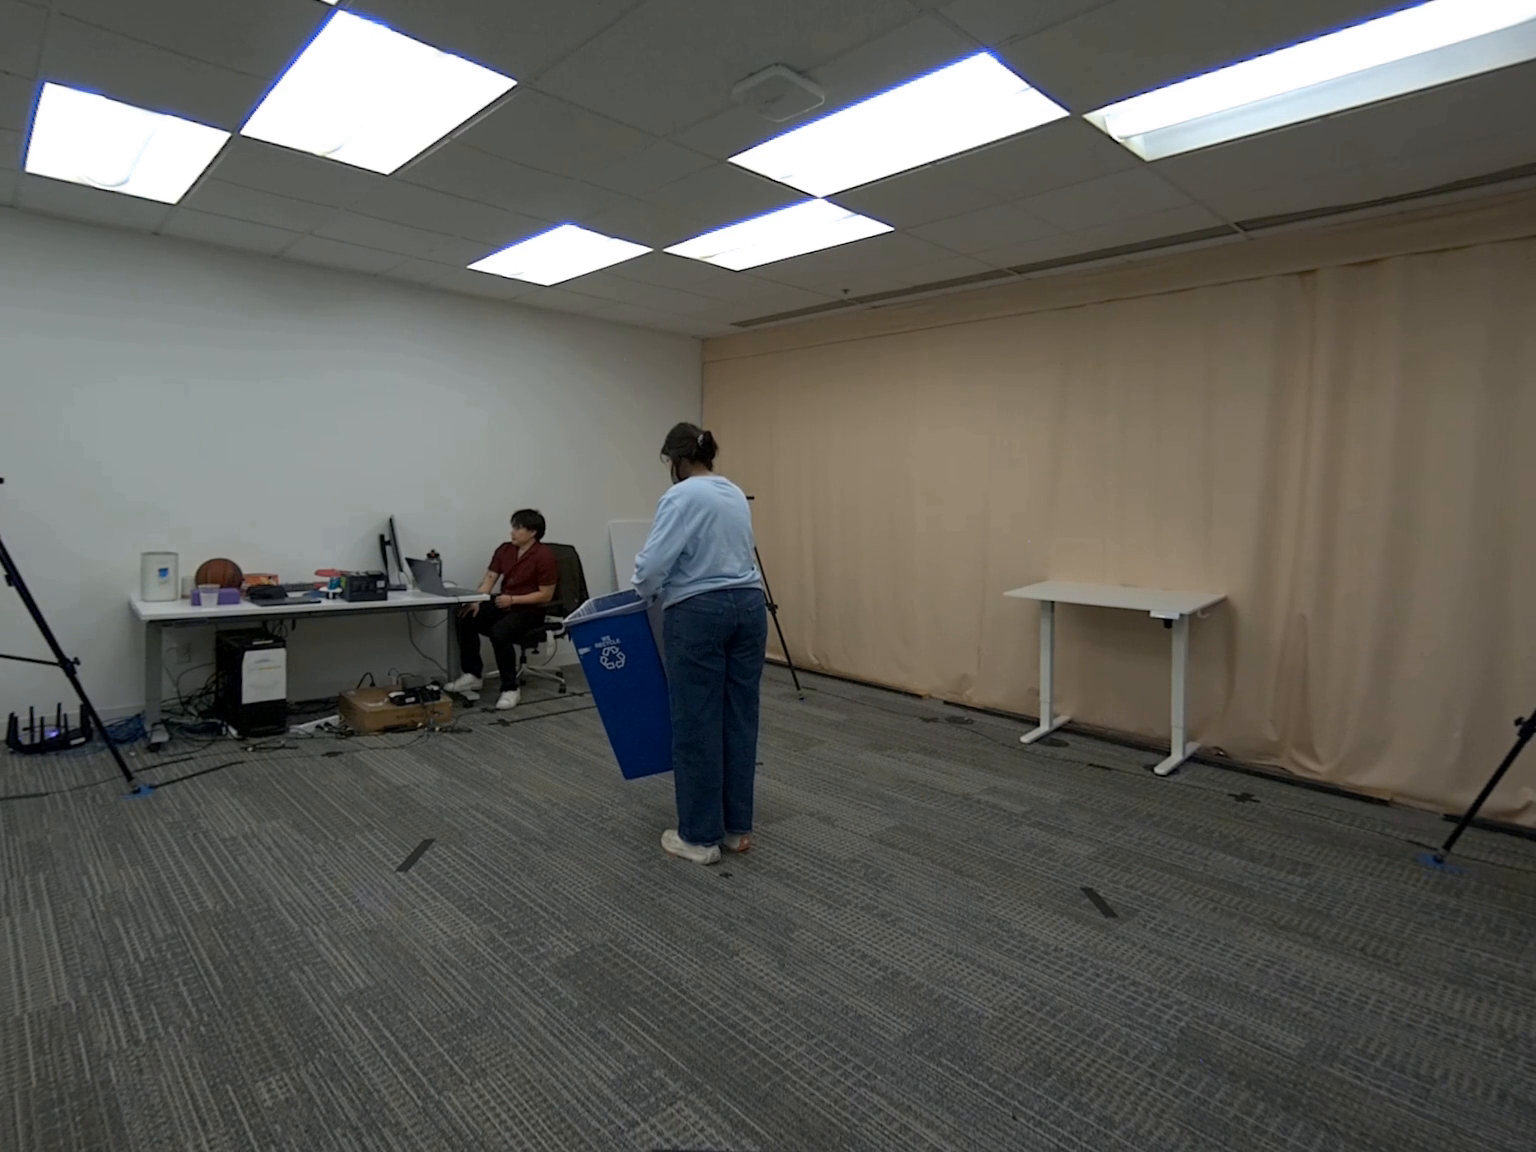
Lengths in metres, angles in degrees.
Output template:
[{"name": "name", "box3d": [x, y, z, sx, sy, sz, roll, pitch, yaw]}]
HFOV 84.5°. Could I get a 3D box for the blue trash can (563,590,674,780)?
[{"name": "blue trash can", "box3d": [-0.532, 0.436, 3.517, 0.377, 0.707, 0.379, -15, 10, 12]}]
